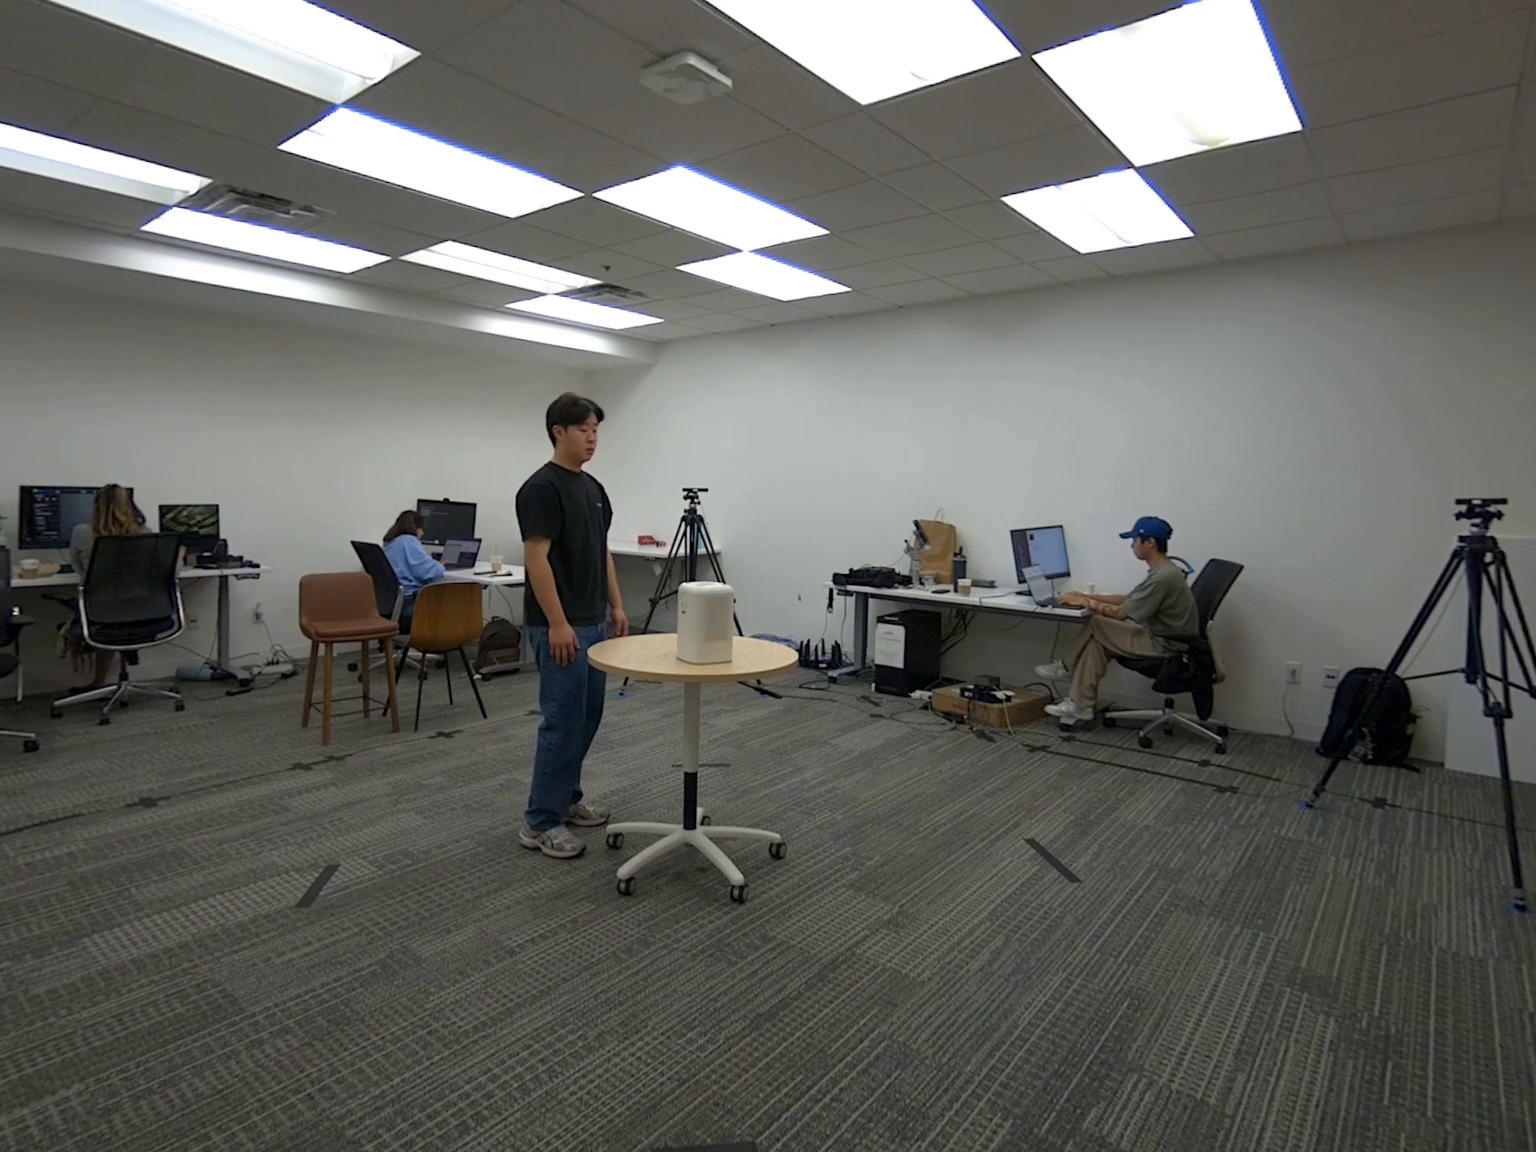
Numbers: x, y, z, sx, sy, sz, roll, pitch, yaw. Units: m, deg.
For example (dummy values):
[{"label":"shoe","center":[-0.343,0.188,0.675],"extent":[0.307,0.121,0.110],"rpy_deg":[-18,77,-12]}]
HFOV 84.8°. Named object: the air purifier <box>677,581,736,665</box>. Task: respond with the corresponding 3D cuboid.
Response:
[{"label":"air purifier","center":[-0.229,0.154,2.965],"extent":[0.167,0.264,0.176],"rpy_deg":[-2,4,-31]}]
